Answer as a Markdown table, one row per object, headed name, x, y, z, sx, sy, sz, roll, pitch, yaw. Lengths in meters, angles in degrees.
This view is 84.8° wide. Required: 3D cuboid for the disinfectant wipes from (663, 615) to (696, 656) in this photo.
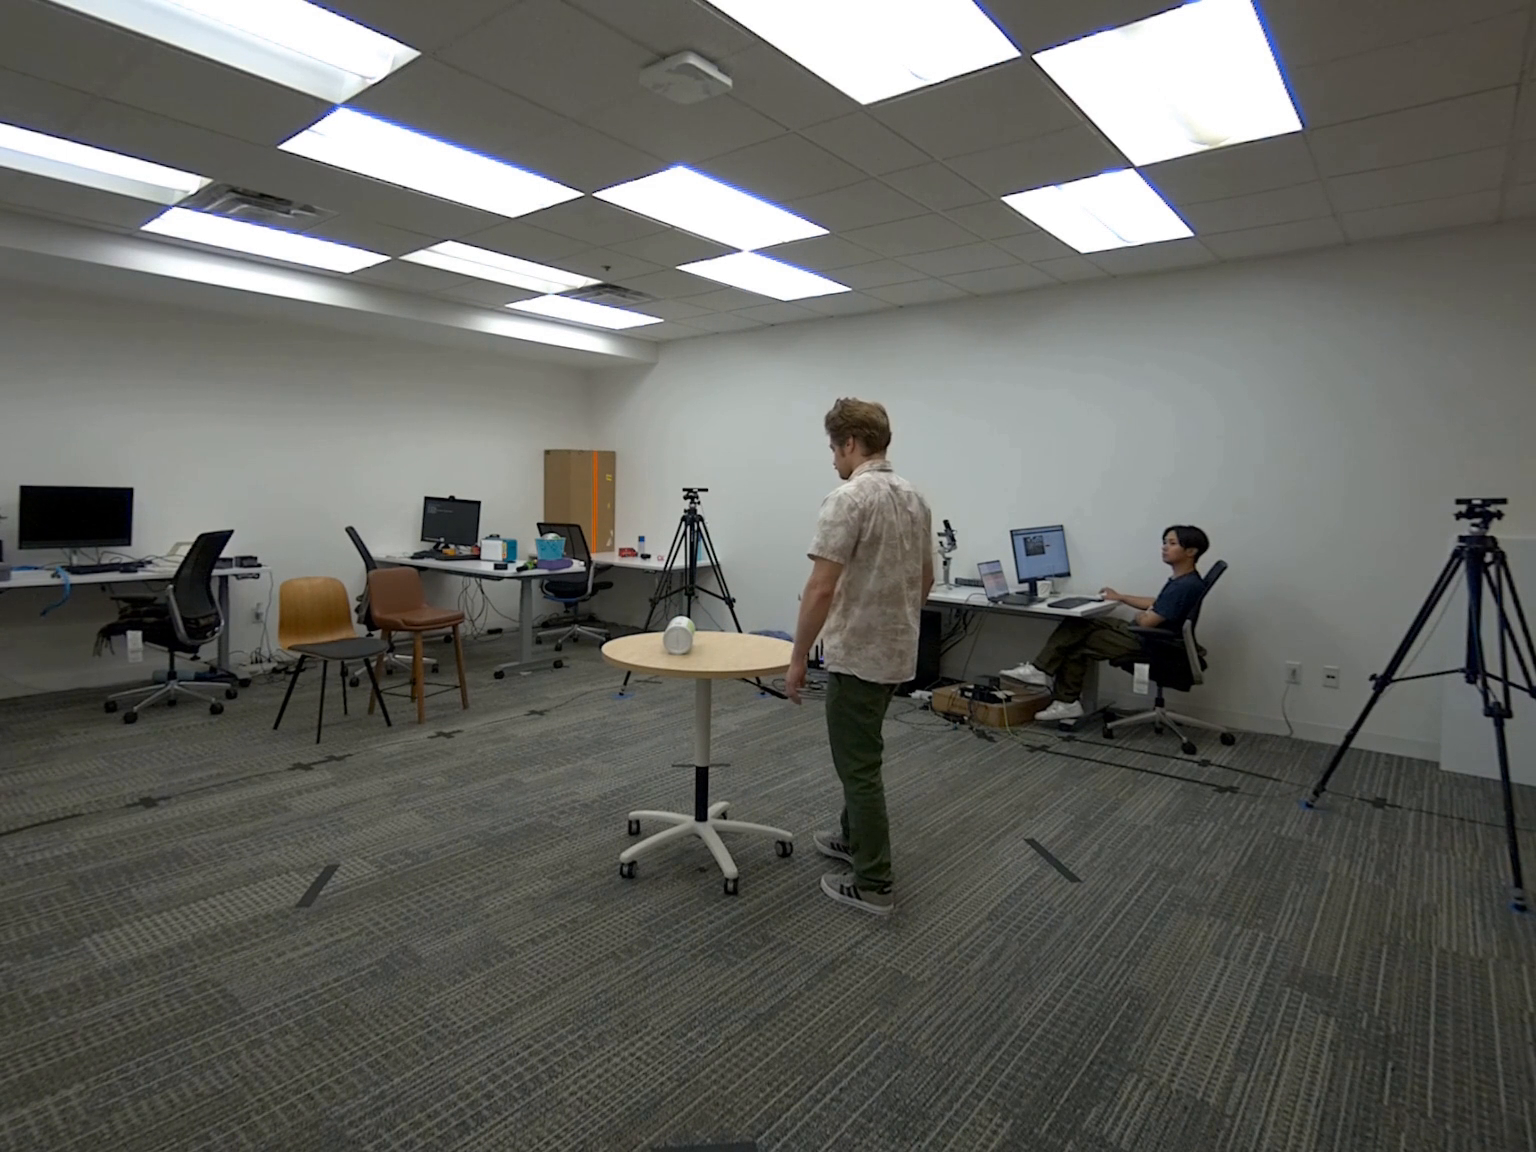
| name | x | y | z | sx | sy | sz | roll | pitch | yaw |
| --- | --- | --- | --- | --- | --- | --- | --- | --- | --- |
| disinfectant wipes | -0.337 | 0.215 | 3.156 | 0.117 | 0.117 | 0.219 | 1 | 5 | -3 |
